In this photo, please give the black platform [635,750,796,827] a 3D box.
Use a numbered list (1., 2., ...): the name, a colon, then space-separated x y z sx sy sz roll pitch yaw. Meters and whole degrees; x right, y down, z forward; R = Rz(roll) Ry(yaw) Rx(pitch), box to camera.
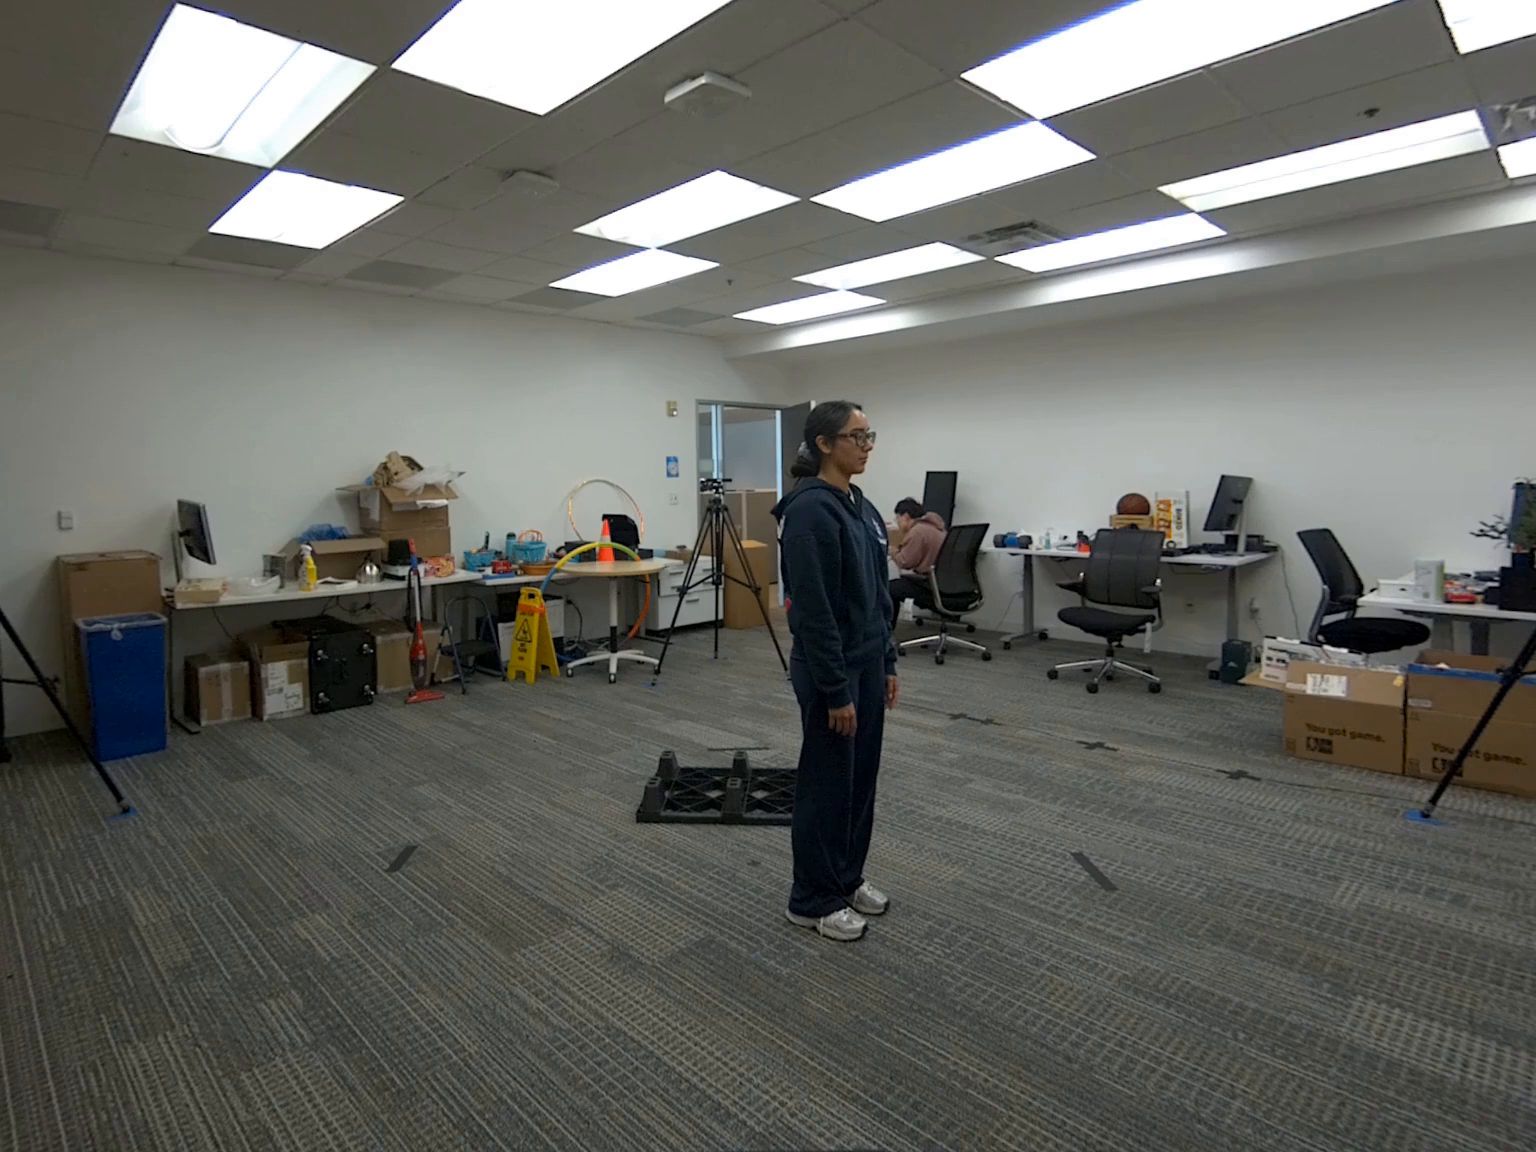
1. black platform: -0.126 0.909 3.753 0.809 0.143 0.605 -1 6 4
